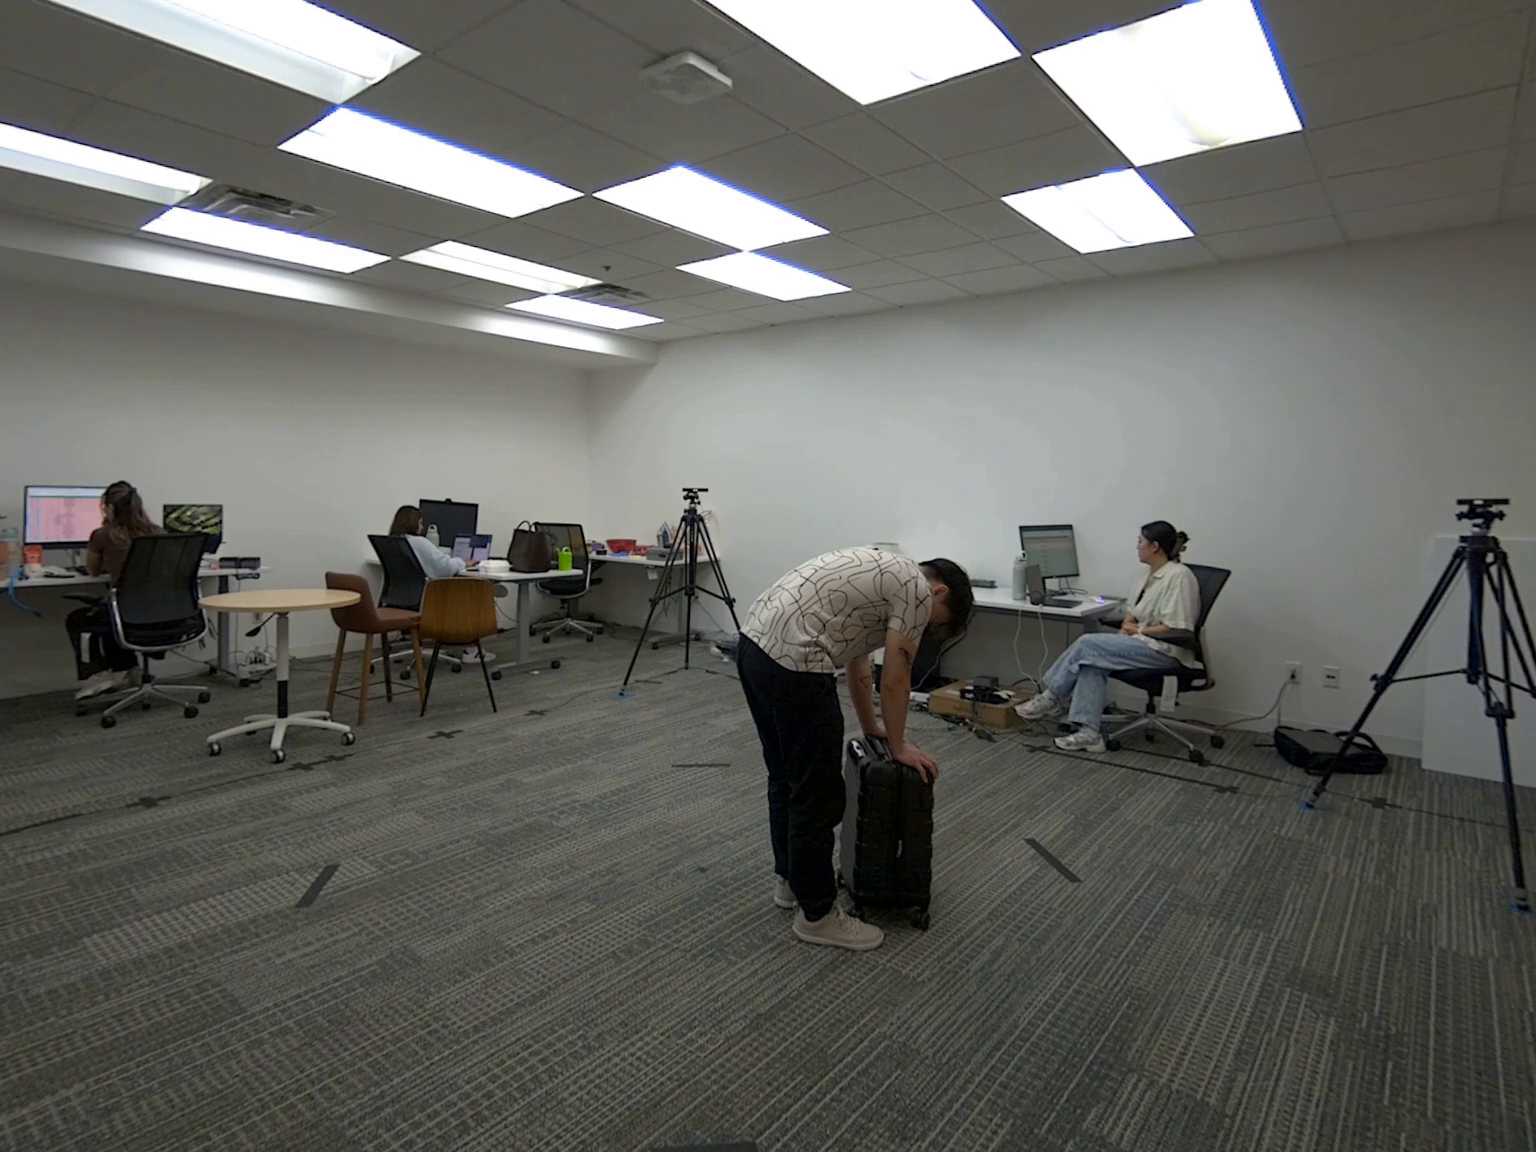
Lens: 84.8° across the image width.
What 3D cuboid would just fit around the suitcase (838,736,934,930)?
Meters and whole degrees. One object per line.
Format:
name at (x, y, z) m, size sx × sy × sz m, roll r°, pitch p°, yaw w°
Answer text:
suitcase at (0.395, 0.833, 2.878) m, size 0.248 × 0.548 × 0.377 m, roll 3°, pitch 2°, yaw -3°
